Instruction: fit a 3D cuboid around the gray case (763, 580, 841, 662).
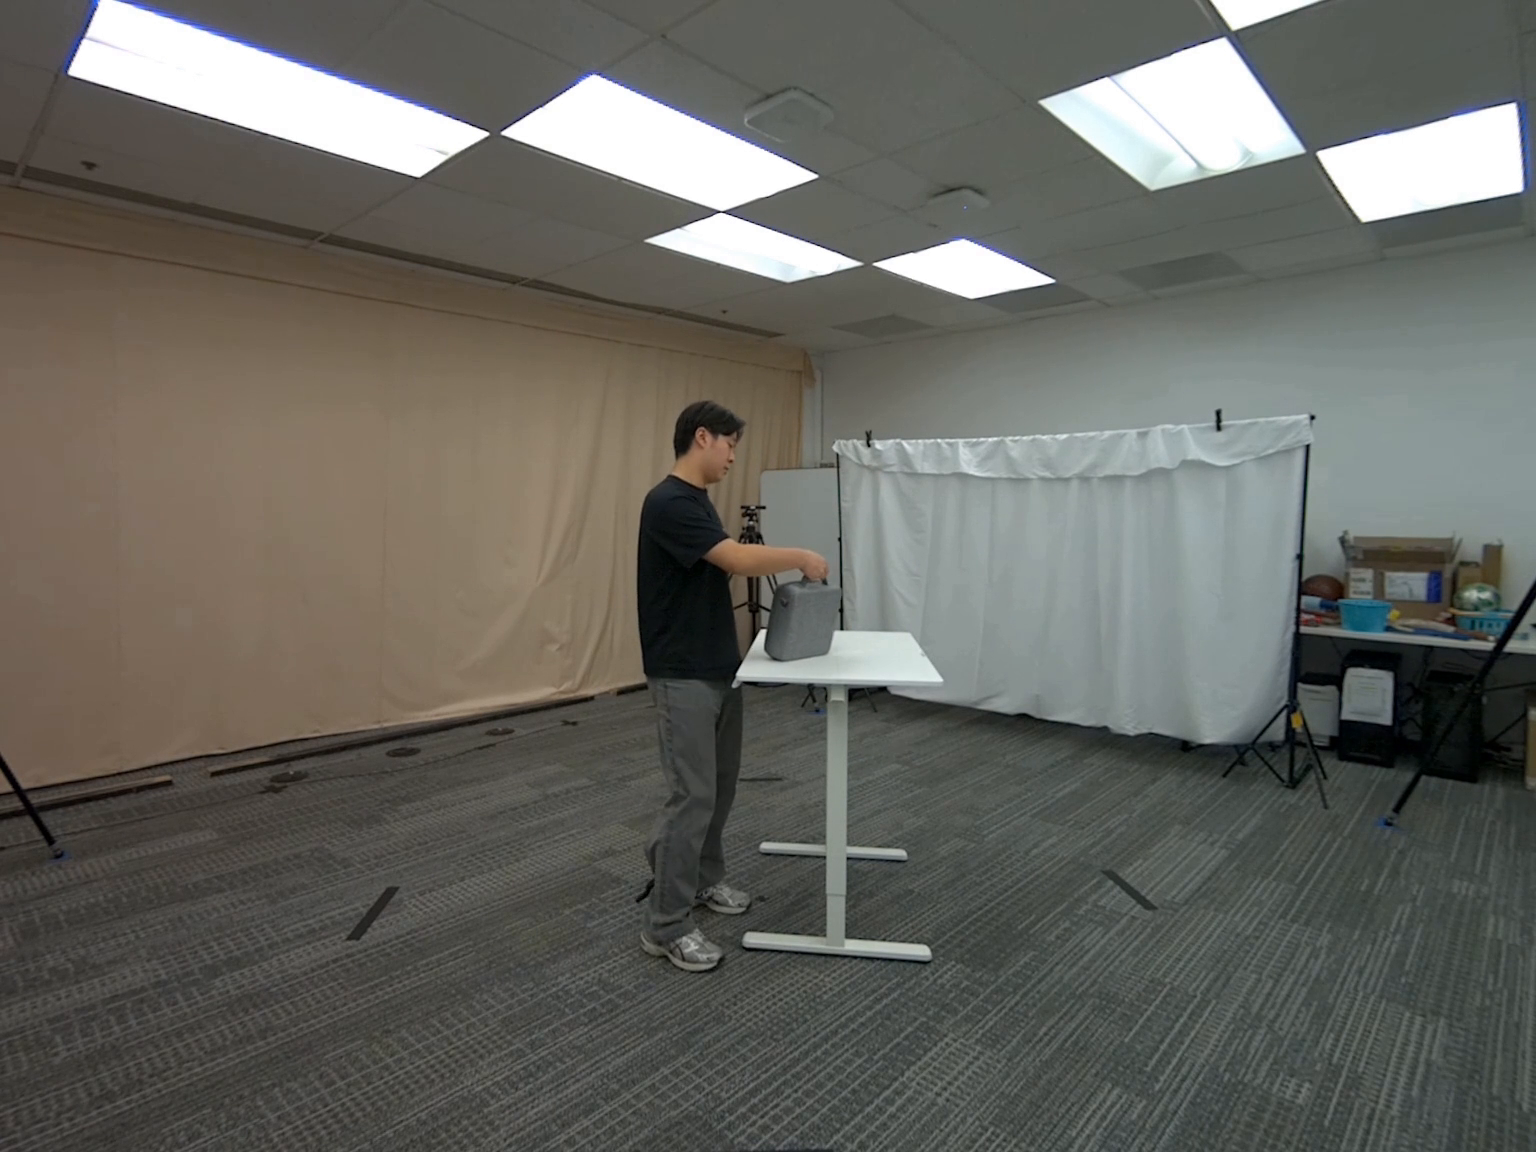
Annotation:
[{"bbox_3d":[0.125,0.135,2.798,0.255,0.285,0.107,-3,19,-44],"label":"gray case"}]
